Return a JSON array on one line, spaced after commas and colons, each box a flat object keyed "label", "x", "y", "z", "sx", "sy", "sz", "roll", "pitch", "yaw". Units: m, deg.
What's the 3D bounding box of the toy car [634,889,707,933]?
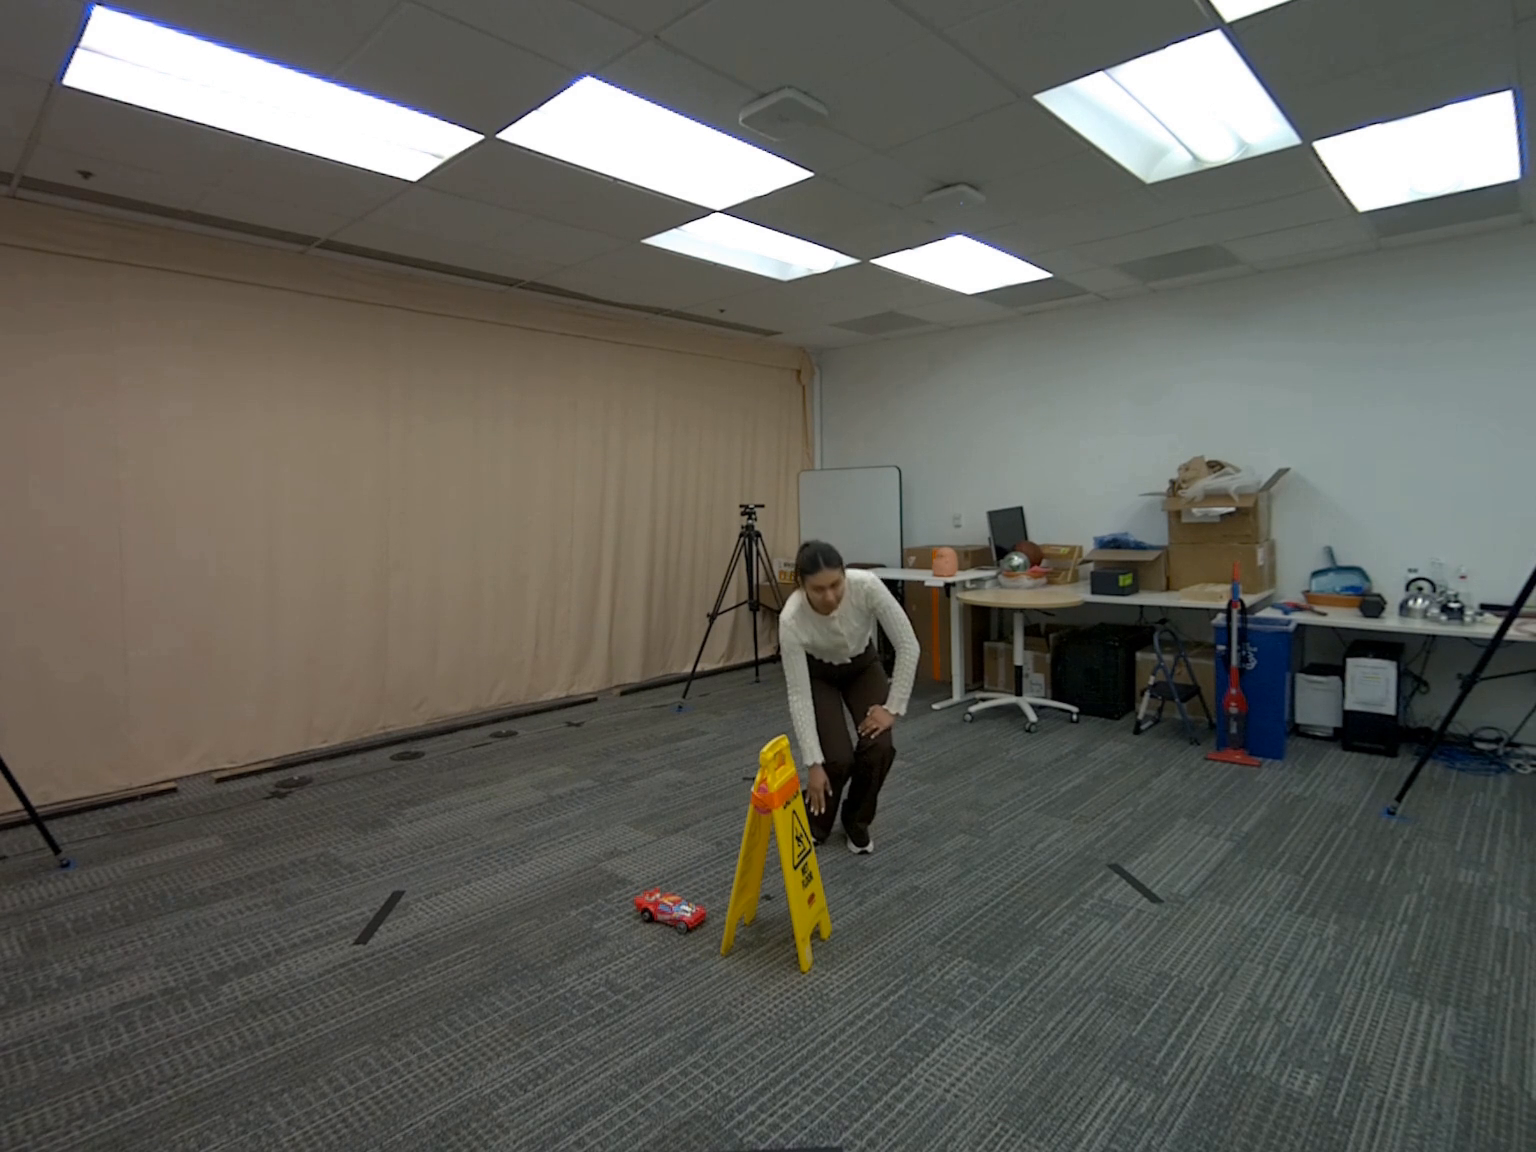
[{"label": "toy car", "x": -0.337, "y": 1.130, "z": 2.838, "sx": 0.263, "sy": 0.083, "sz": 0.127, "roll": 15, "pitch": 12, "yaw": 32}]
